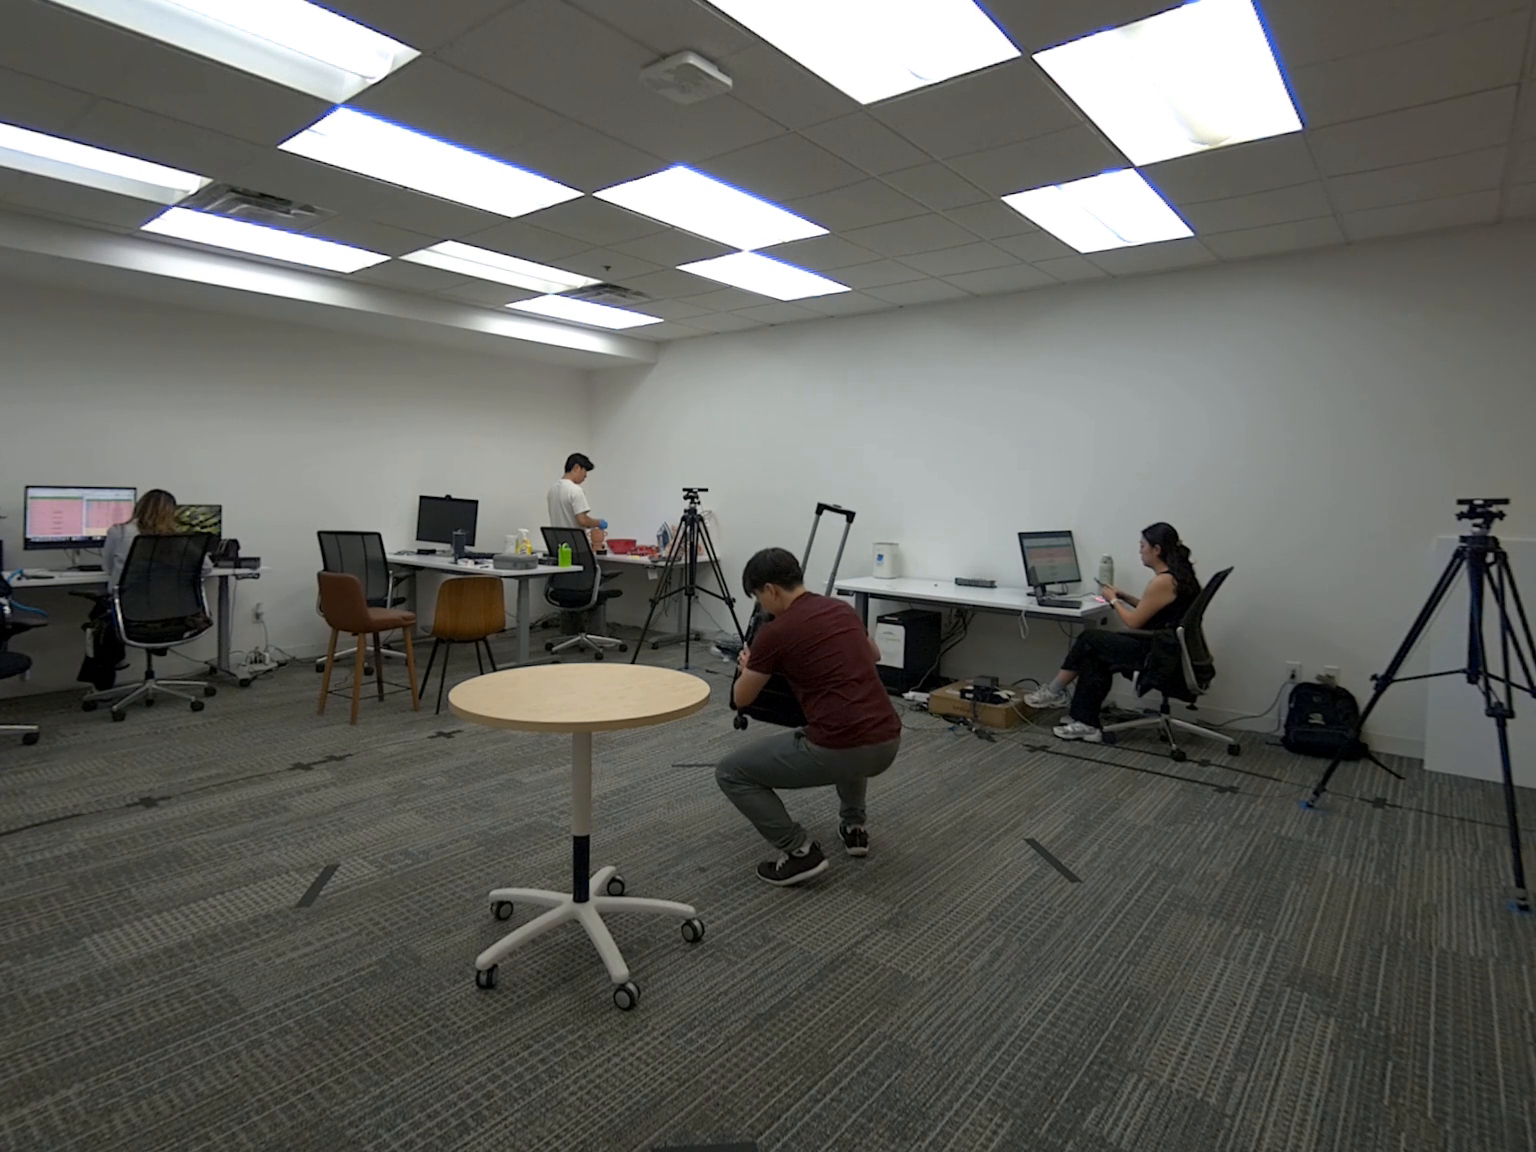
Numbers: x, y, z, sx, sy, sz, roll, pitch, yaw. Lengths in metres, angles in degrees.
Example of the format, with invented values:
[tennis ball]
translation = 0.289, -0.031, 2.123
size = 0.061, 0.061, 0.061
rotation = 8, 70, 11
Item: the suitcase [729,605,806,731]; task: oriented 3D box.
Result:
[suitcase]
translation = 0.108, 0.166, 3.540
size = 0.379, 0.973, 0.261
rotation = 13, 8, -10
